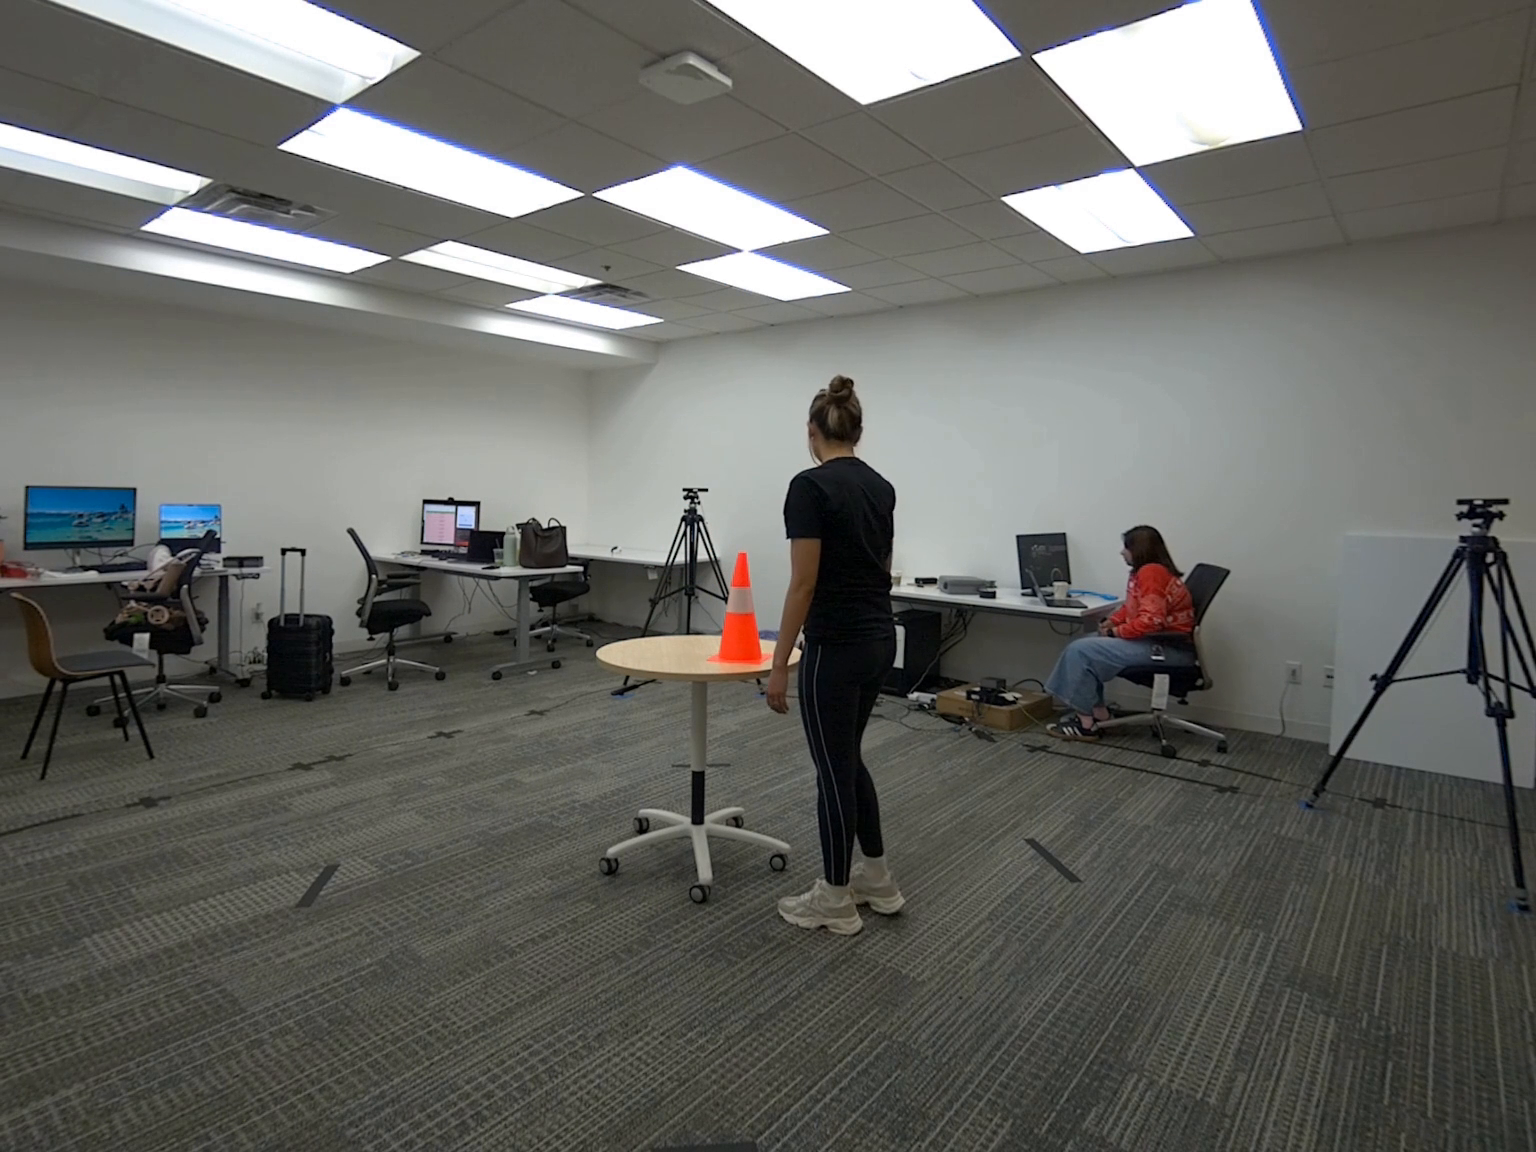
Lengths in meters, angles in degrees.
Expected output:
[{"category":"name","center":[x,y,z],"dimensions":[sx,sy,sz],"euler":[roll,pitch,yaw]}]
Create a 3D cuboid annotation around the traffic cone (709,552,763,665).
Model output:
[{"category":"traffic cone","center":[-0.103,0.107,3.043],"dimensions":[0.208,0.383,0.200],"euler":[3,3,14]}]
